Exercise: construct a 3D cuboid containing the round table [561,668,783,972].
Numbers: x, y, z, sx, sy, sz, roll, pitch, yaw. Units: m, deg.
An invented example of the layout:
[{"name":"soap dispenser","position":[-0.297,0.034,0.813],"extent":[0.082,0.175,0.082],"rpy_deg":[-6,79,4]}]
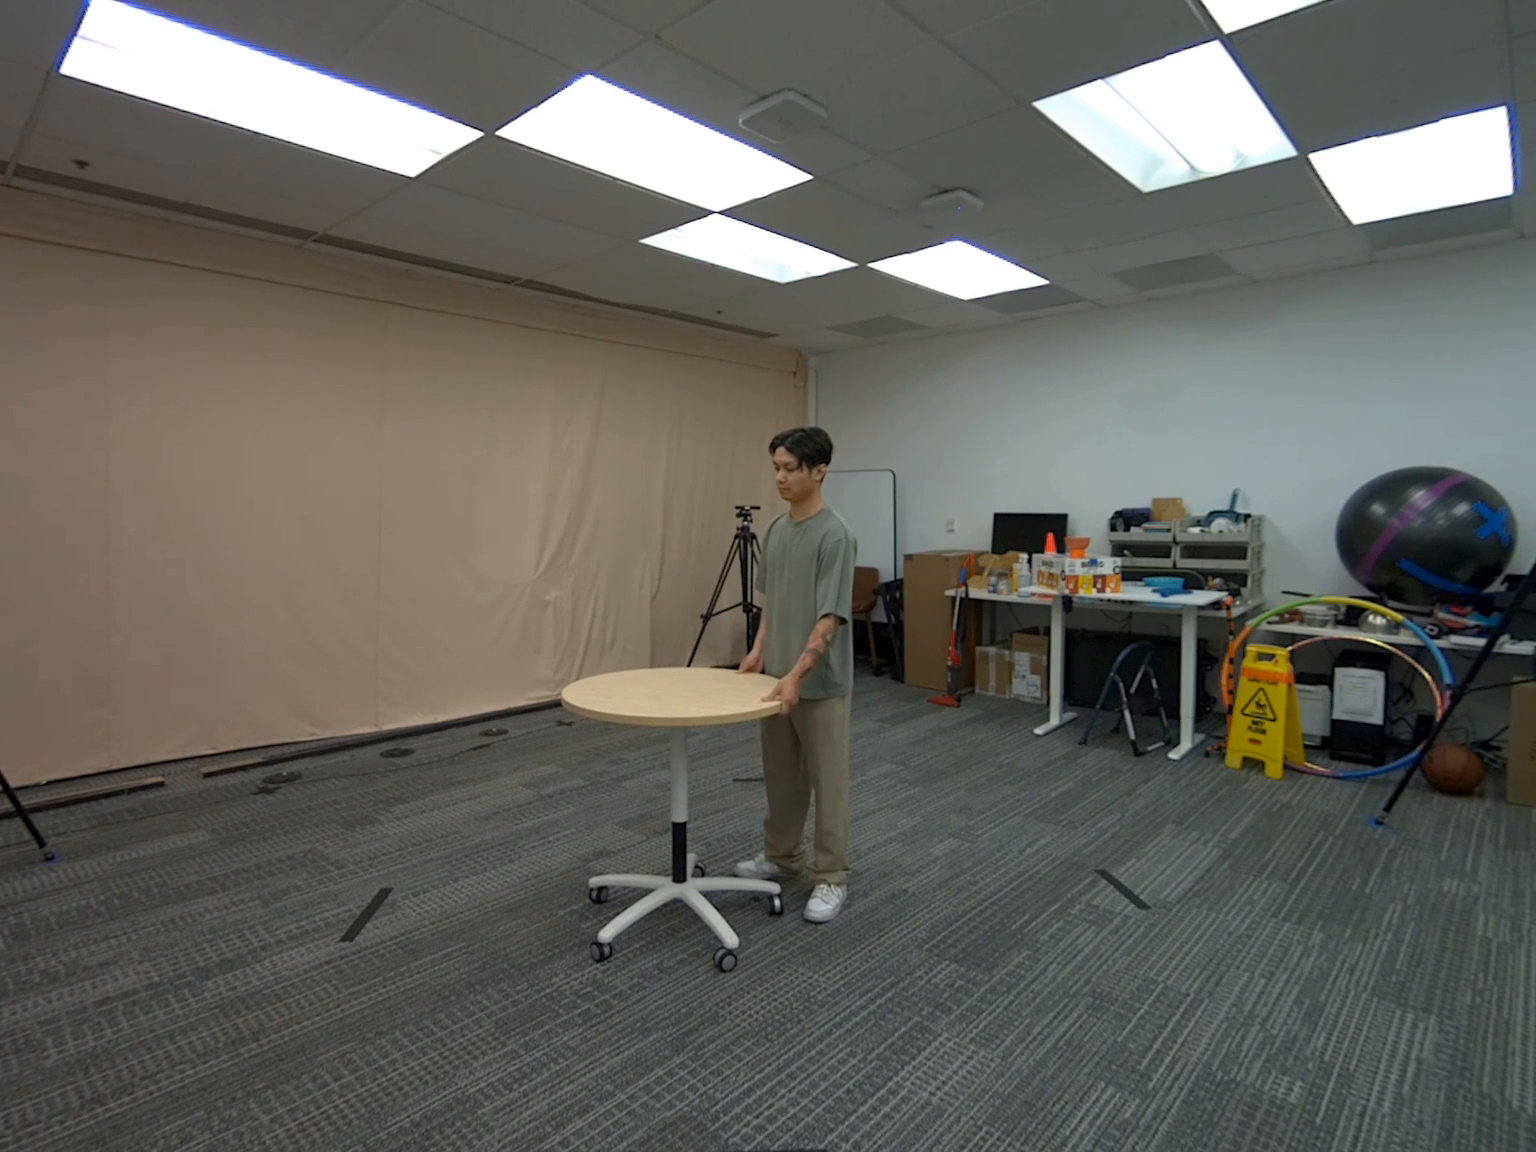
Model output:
[{"name":"round table","position":[-0.311,0.768,2.796],"extent":[0.784,0.785,0.787],"rpy_deg":[0,3,-2]}]
